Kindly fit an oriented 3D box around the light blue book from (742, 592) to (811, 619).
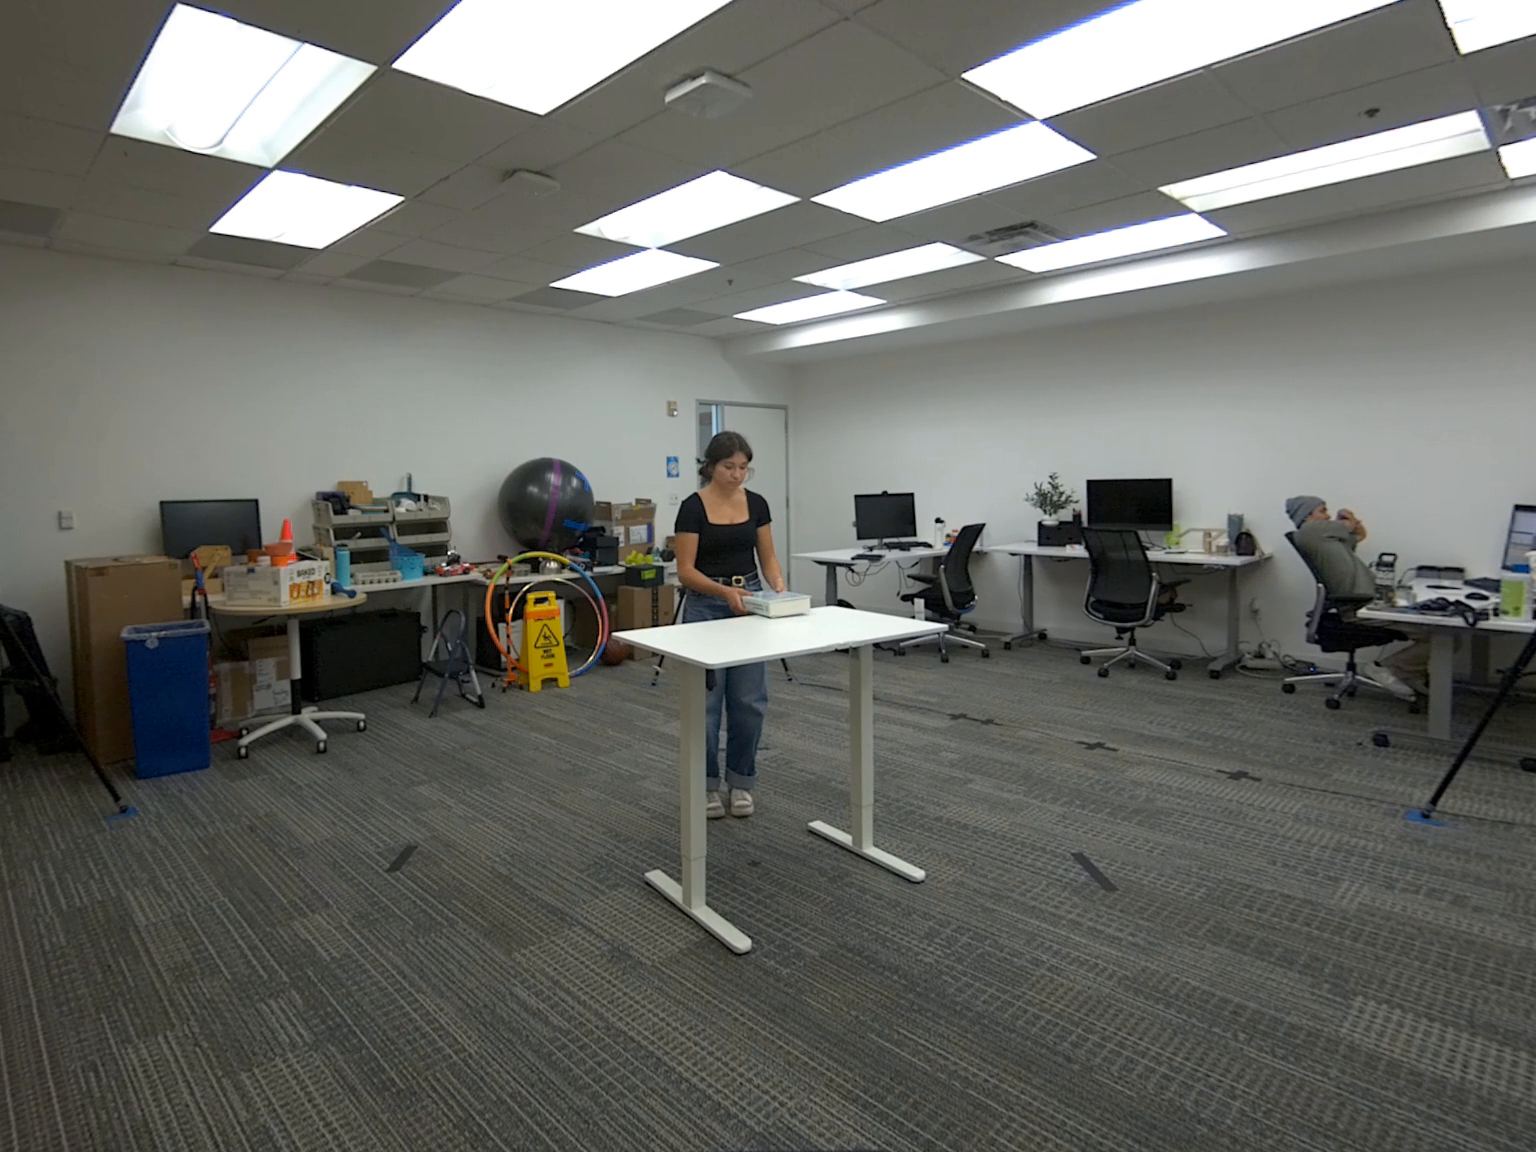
[{"bbox_3d":[0.021,0.105,3.282,0.187,0.059,0.267,-5,6,-26],"label":"light blue book"}]
